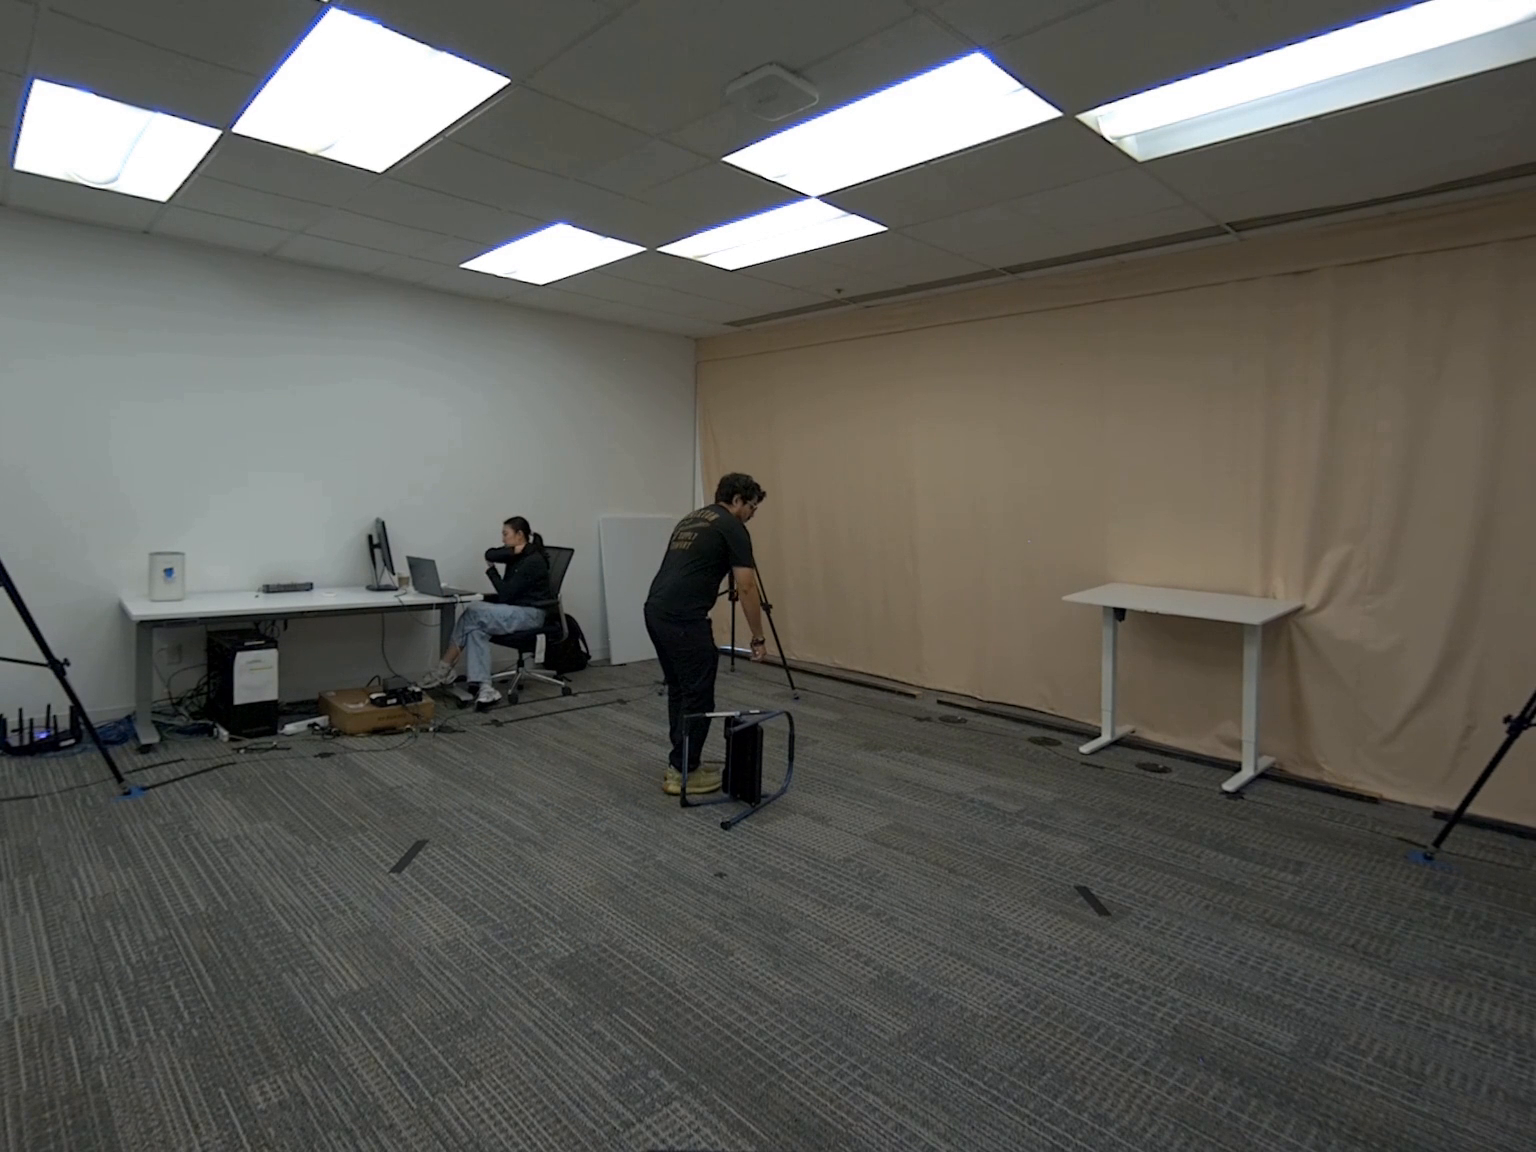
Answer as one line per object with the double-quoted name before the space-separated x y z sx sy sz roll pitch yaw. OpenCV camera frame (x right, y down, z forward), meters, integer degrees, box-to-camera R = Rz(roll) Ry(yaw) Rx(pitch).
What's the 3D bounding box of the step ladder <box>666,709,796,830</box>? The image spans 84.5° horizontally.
"step ladder" -0.064 0.835 3.831 0.591 0.430 0.358 1 4 -41
